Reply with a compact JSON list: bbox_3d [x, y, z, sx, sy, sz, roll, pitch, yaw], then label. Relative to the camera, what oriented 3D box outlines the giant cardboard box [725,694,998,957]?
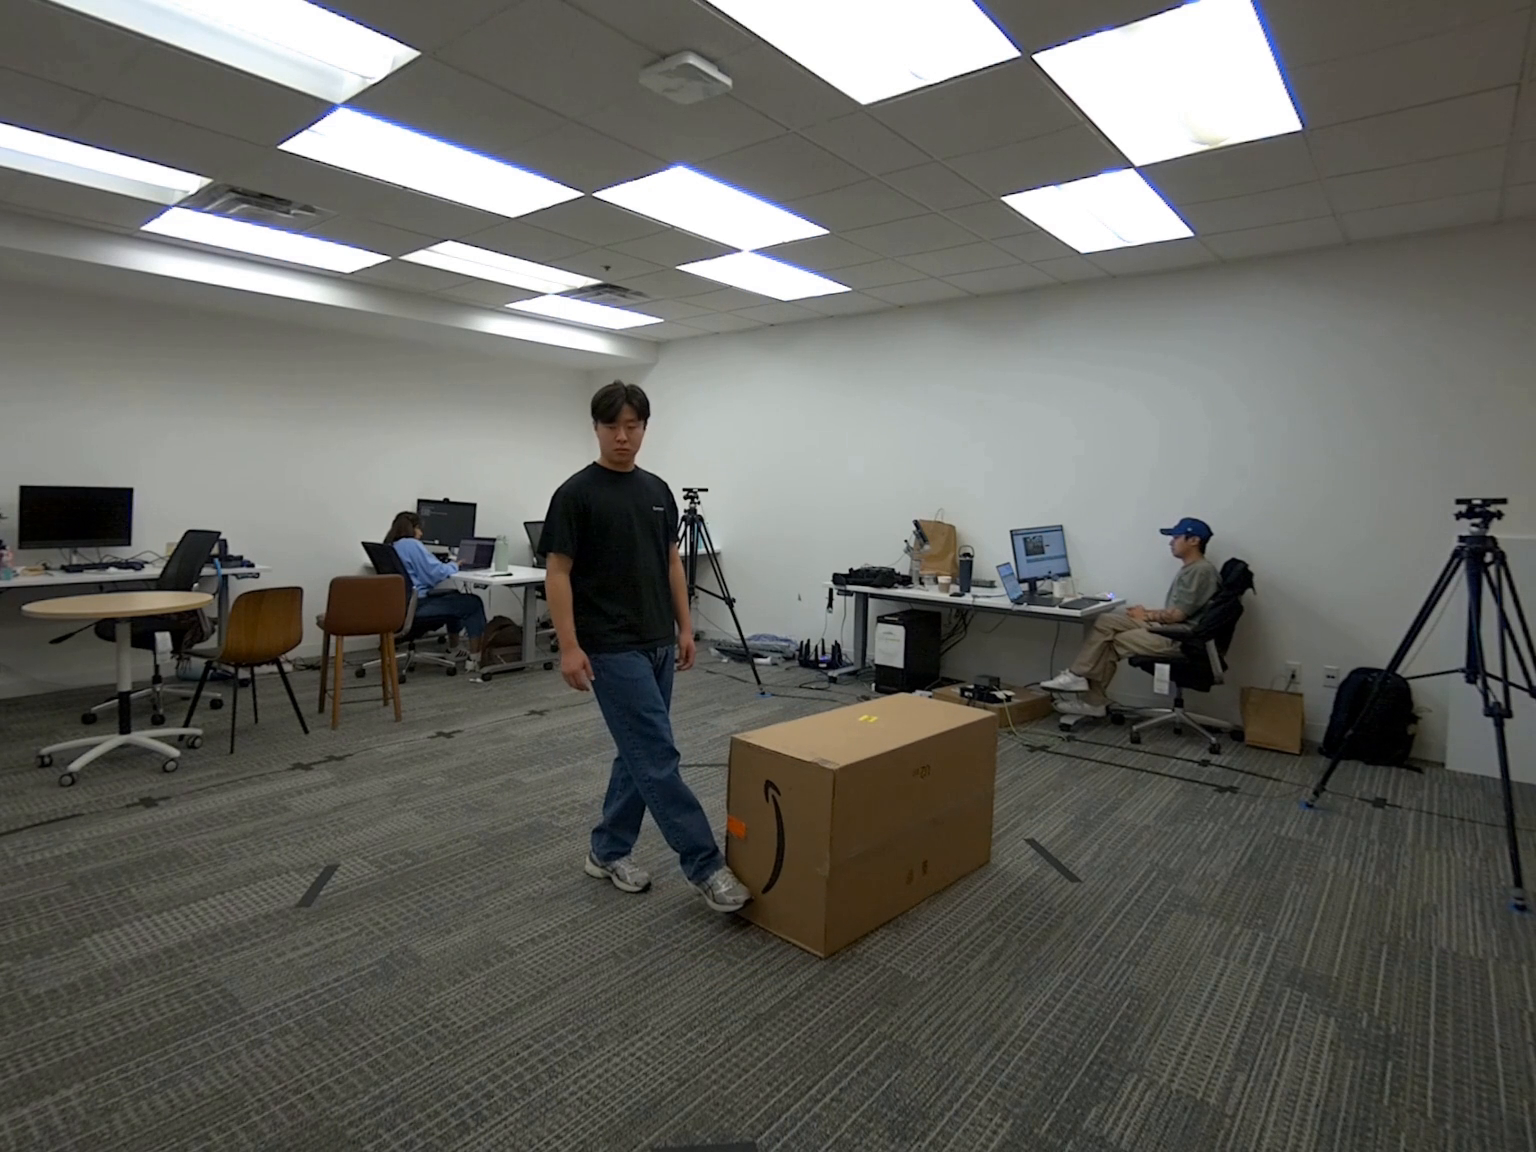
[{"bbox_3d":[0.348,0.804,3.009,0.462,0.582,0.996,4,5,43],"label":"giant cardboard box"}]
